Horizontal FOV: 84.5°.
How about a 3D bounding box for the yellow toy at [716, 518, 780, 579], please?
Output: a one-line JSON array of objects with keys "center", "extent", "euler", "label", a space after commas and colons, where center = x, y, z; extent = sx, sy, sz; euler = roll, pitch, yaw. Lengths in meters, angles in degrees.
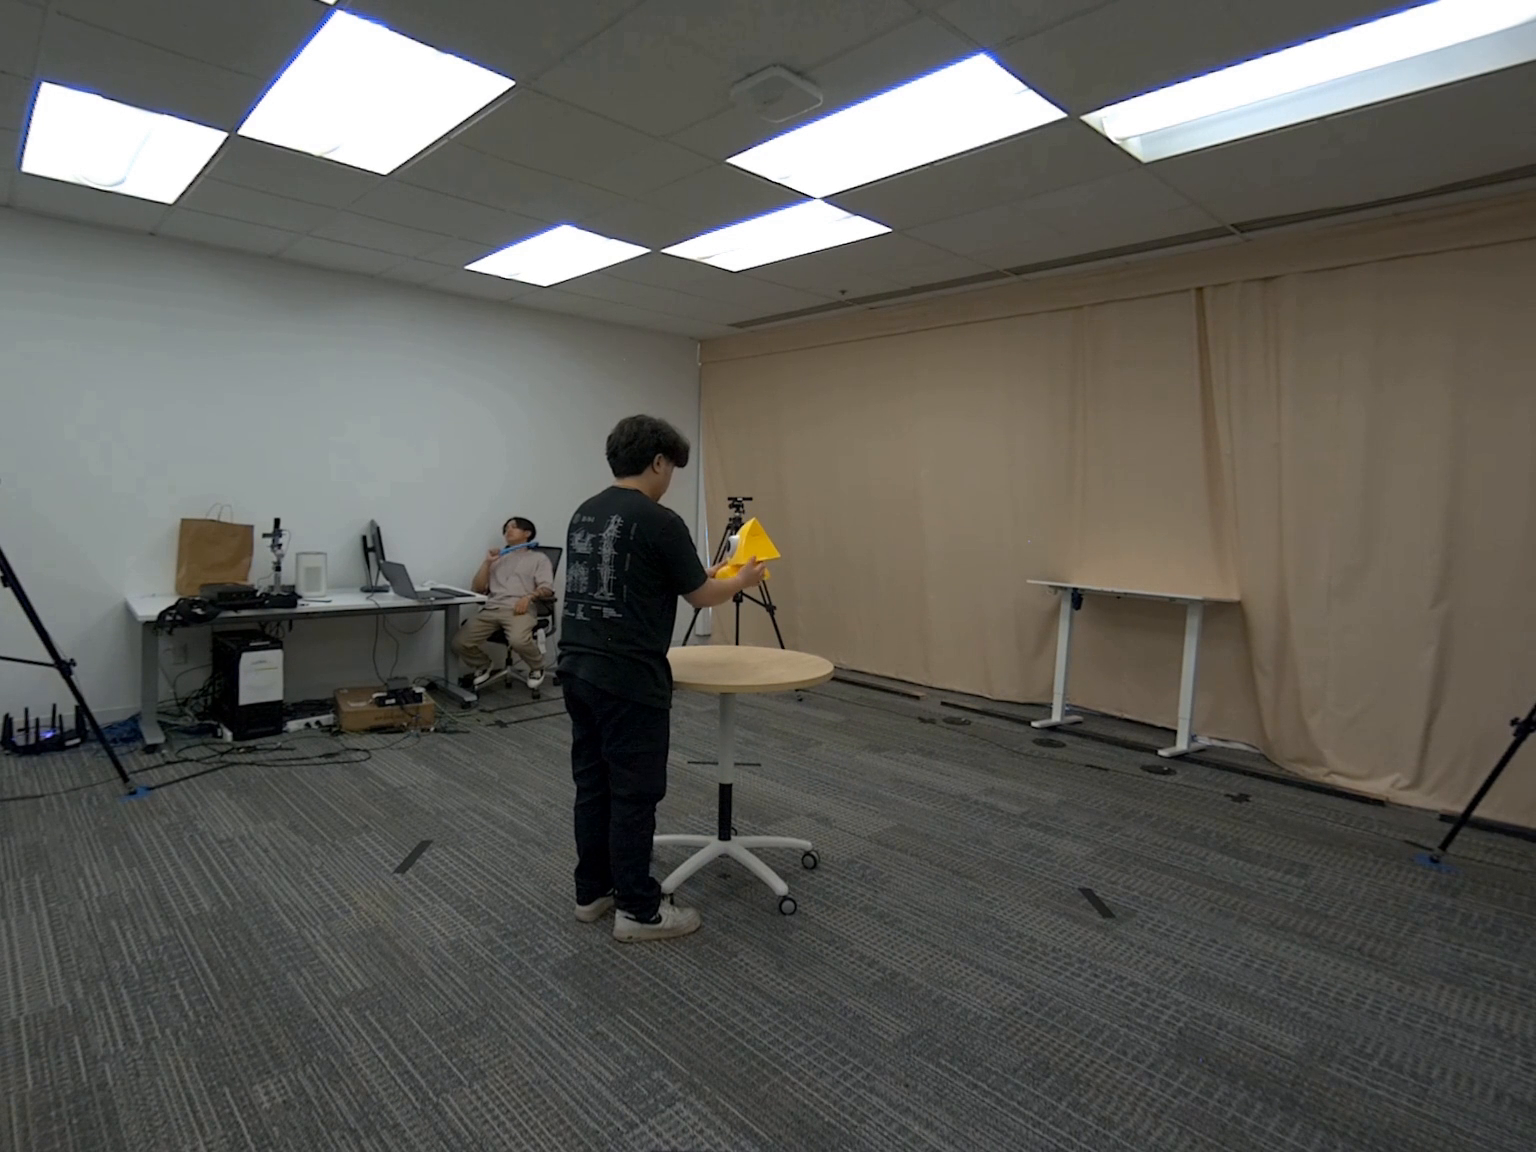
[{"center": [-0.095, -0.098, 3.055], "extent": [0.198, 0.229, 0.201], "euler": [7, 11, 42], "label": "yellow toy"}]
